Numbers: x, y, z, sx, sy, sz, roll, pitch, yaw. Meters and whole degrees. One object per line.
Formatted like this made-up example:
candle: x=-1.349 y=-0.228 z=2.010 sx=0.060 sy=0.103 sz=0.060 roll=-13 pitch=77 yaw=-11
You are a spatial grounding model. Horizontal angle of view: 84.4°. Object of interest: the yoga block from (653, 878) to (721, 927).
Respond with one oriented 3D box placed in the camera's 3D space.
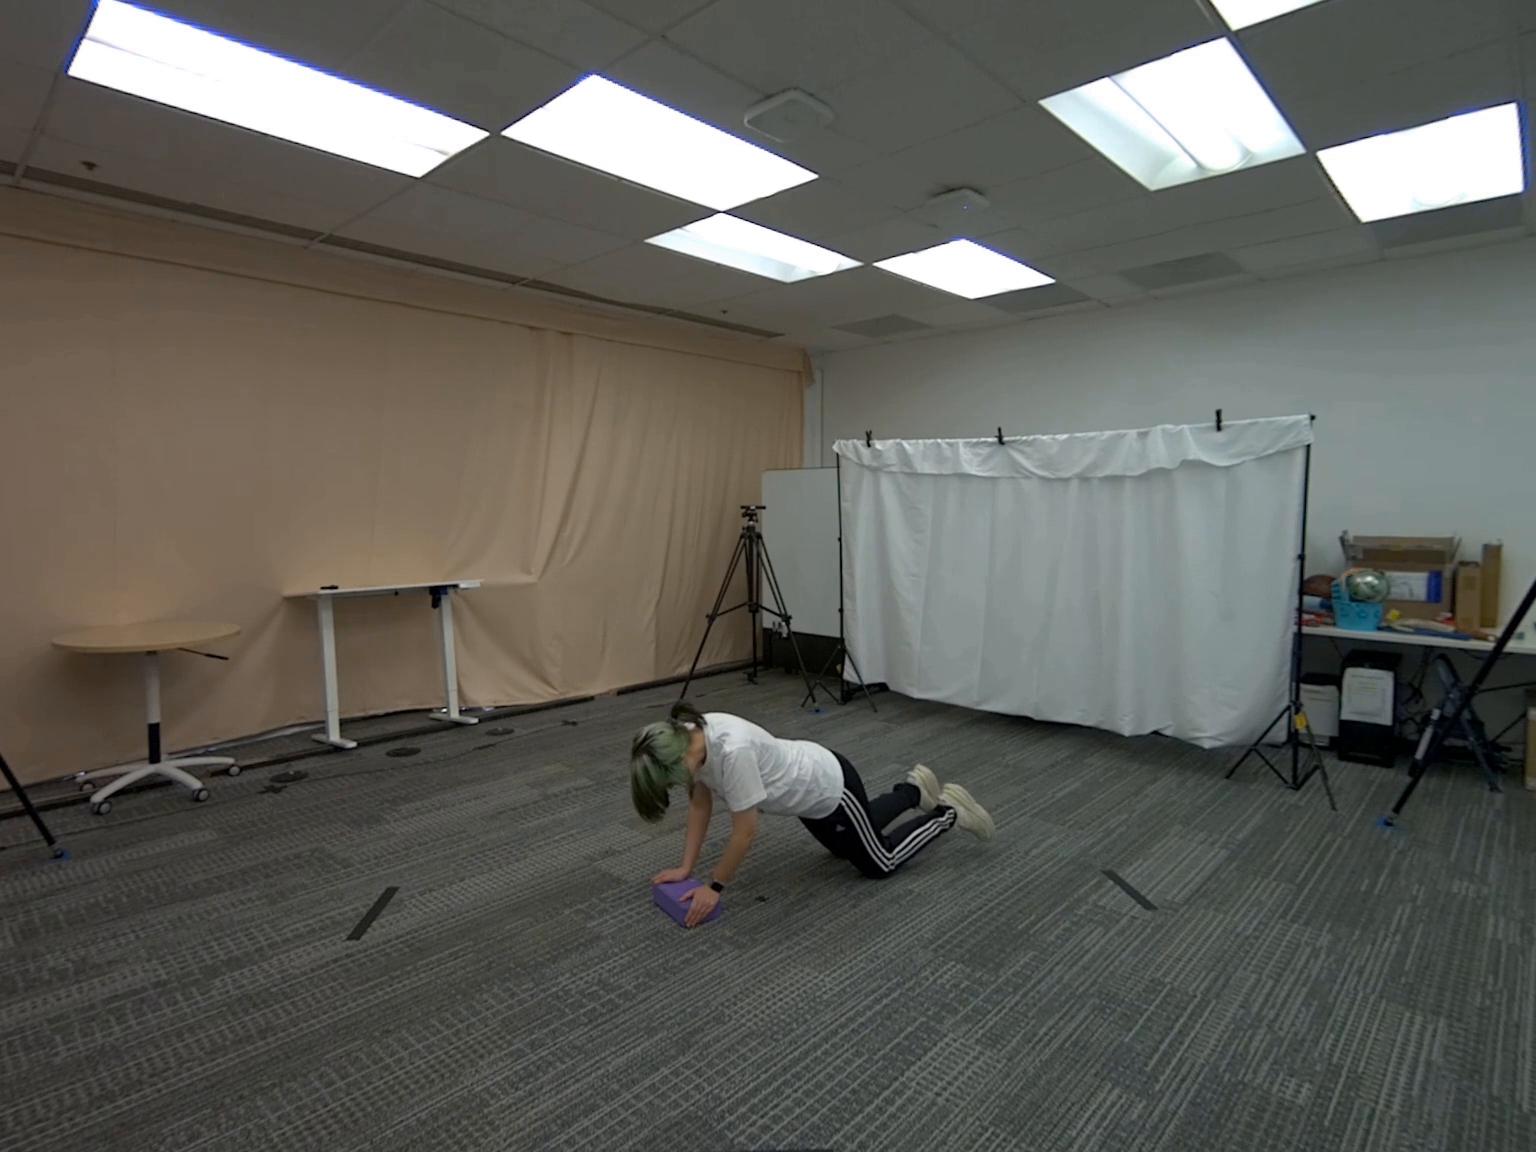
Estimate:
yoga block: x=-0.278 y=1.115 z=2.904 sx=0.145 sy=0.076 sz=0.237 roll=-4 pitch=7 yaw=-35
